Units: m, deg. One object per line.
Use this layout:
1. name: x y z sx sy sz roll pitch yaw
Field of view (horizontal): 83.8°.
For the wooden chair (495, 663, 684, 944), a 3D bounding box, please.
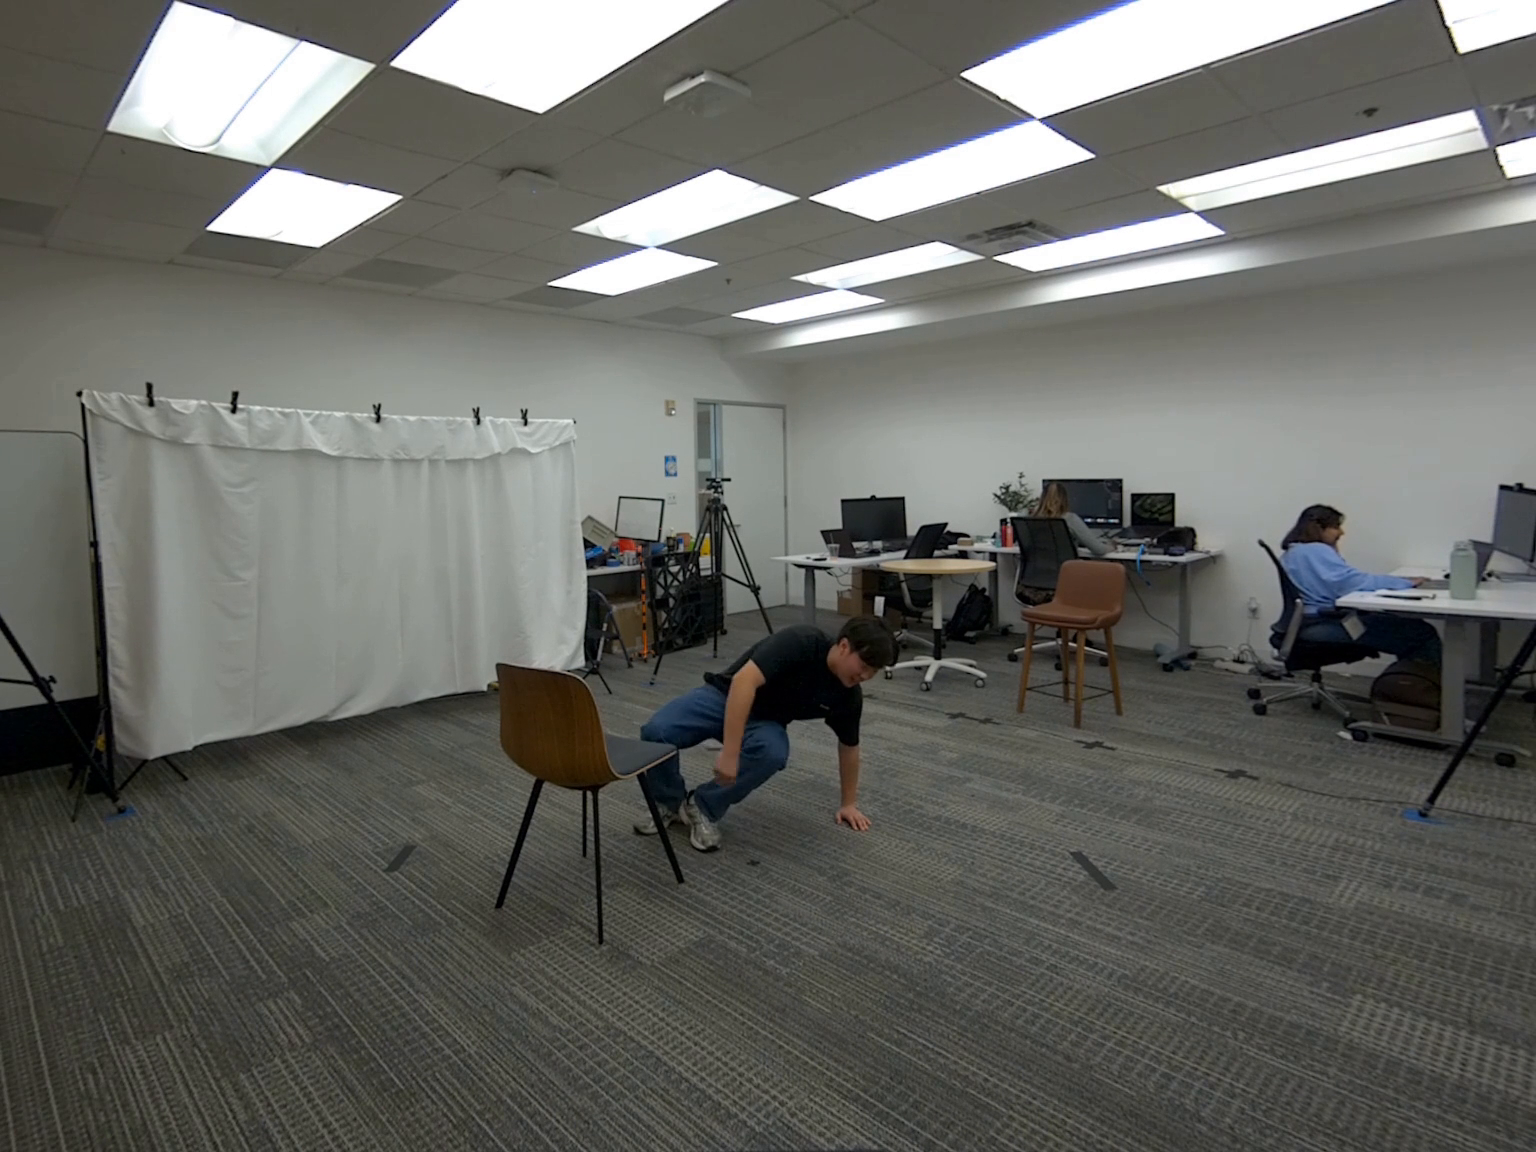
1. wooden chair: -0.593 0.653 2.858 0.491 0.871 0.513 1 9 30
